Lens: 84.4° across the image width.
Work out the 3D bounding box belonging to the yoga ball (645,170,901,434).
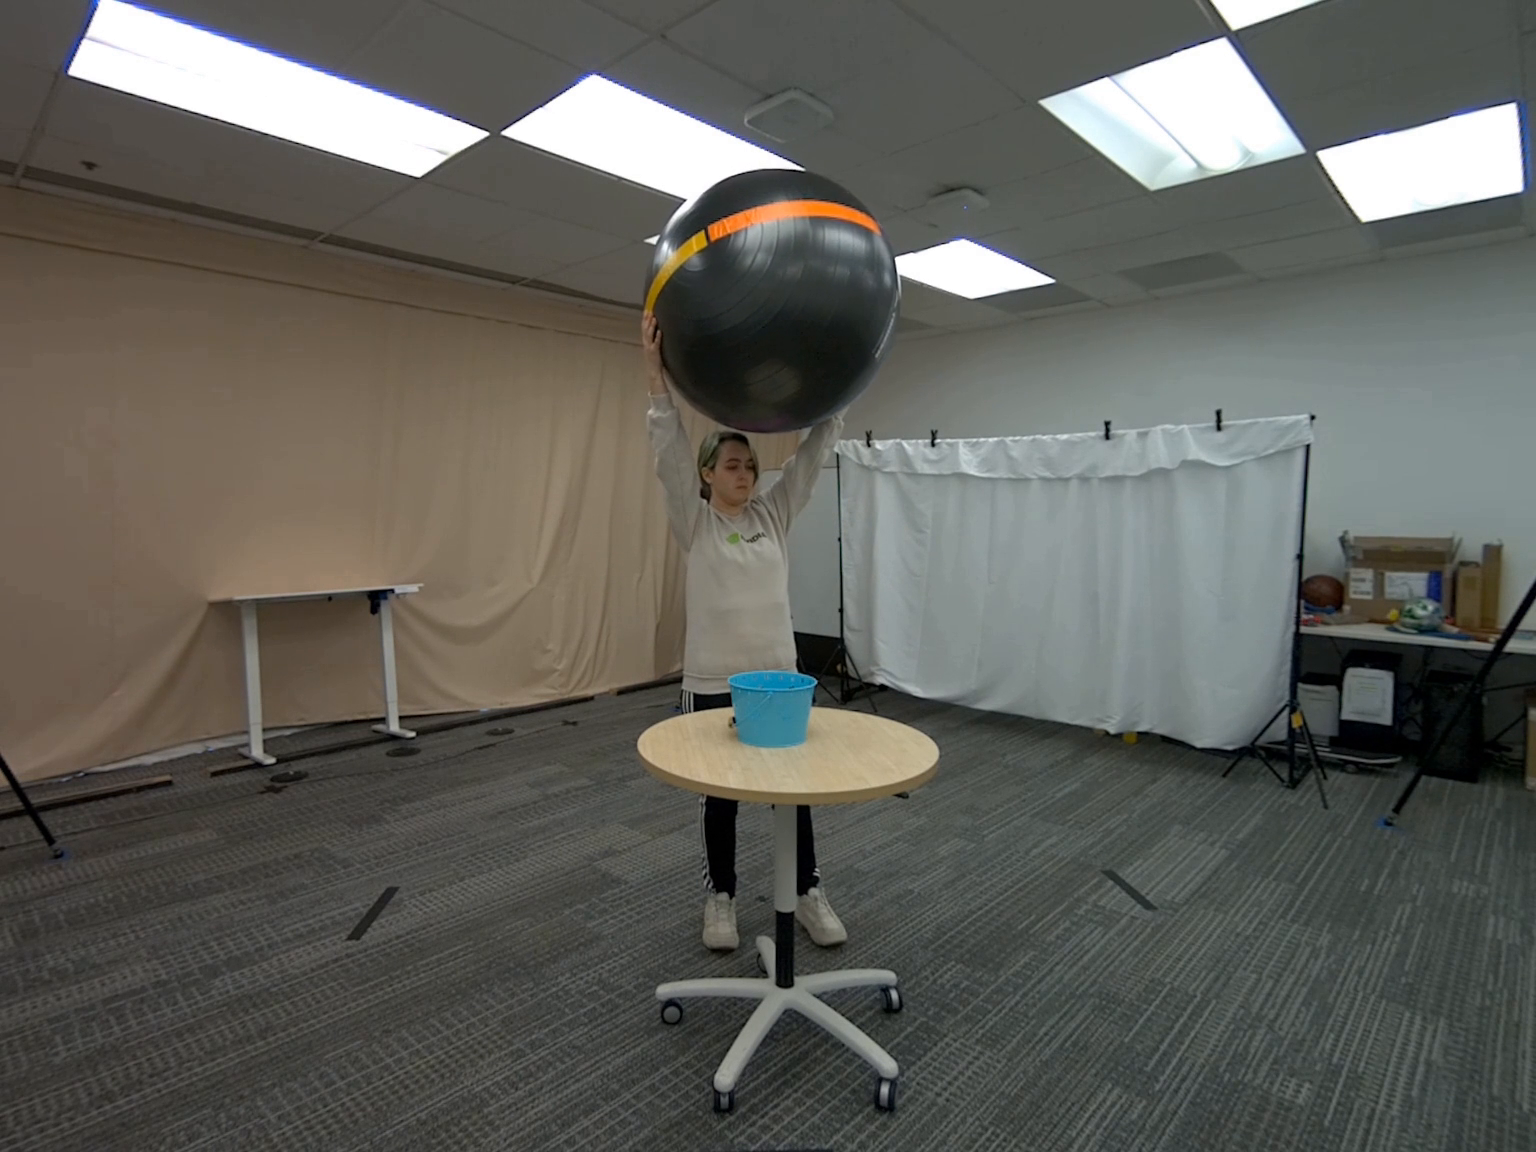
[{"bbox_3d":[0.007,-0.803,2.506,0.757,0.756,0.761,0,4,-2],"label":"yoga ball"}]
